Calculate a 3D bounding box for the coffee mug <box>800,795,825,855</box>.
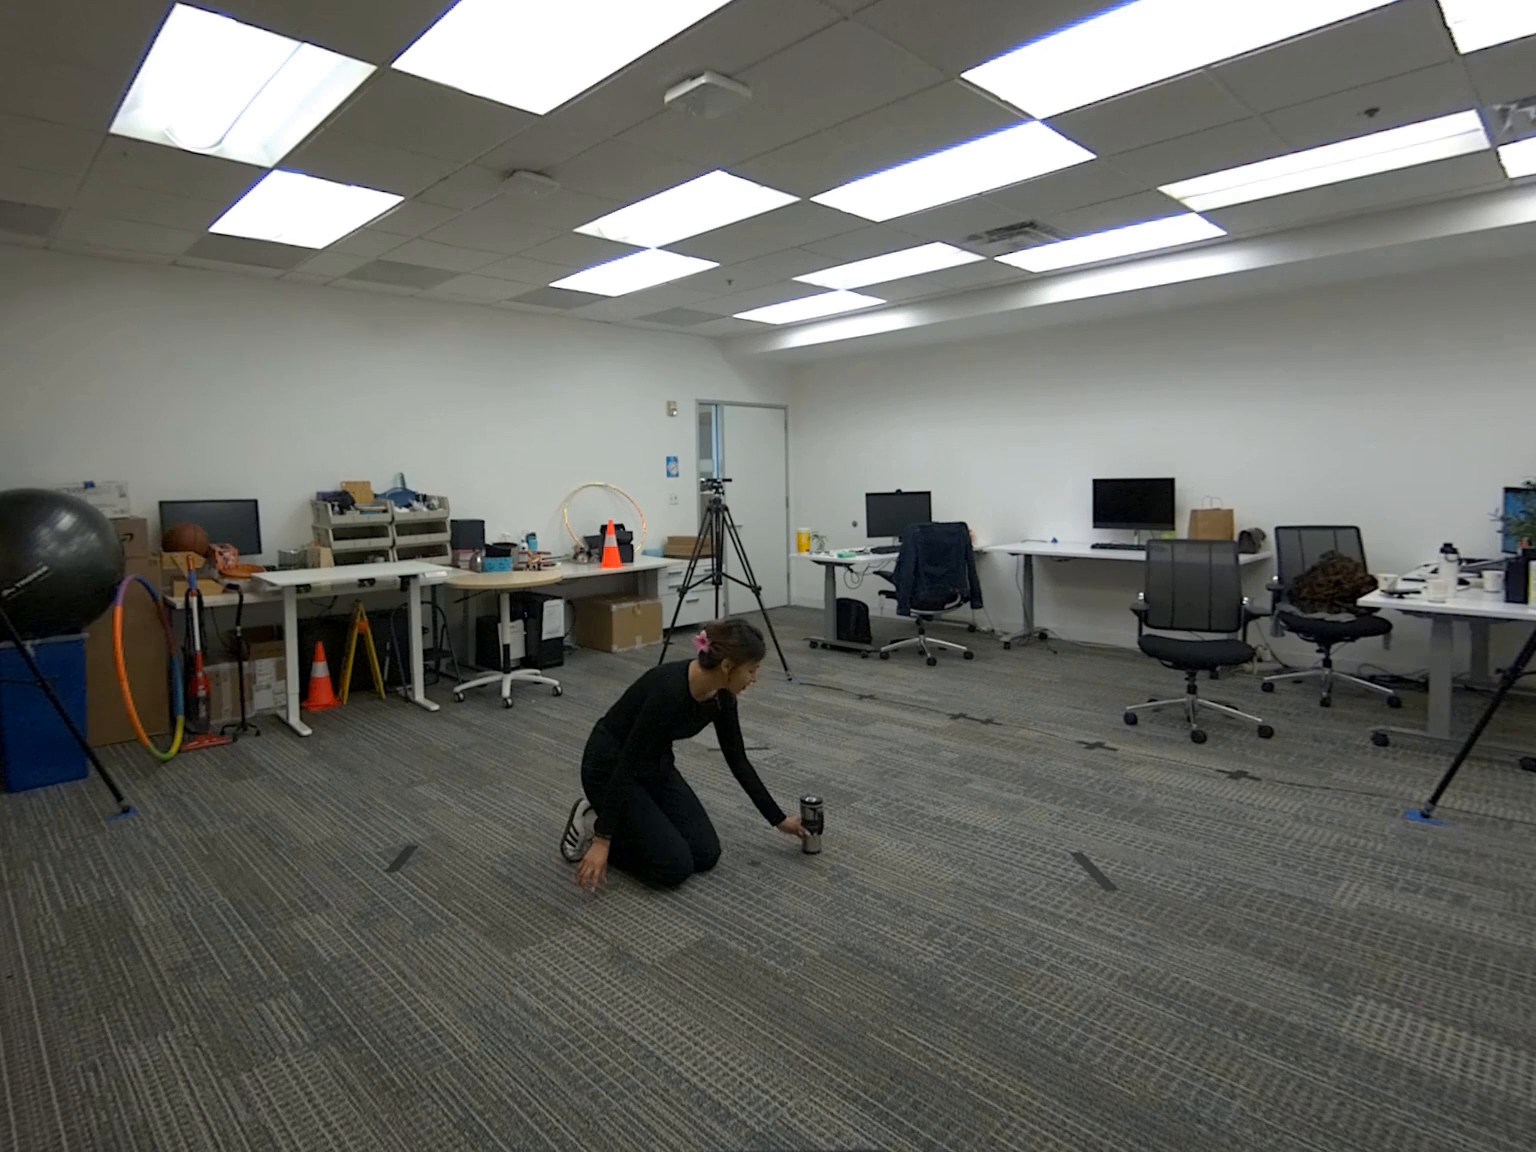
[{"bbox_3d":[0.155,0.926,3.166,0.089,0.203,0.120,1,-1,14],"label":"coffee mug"}]
